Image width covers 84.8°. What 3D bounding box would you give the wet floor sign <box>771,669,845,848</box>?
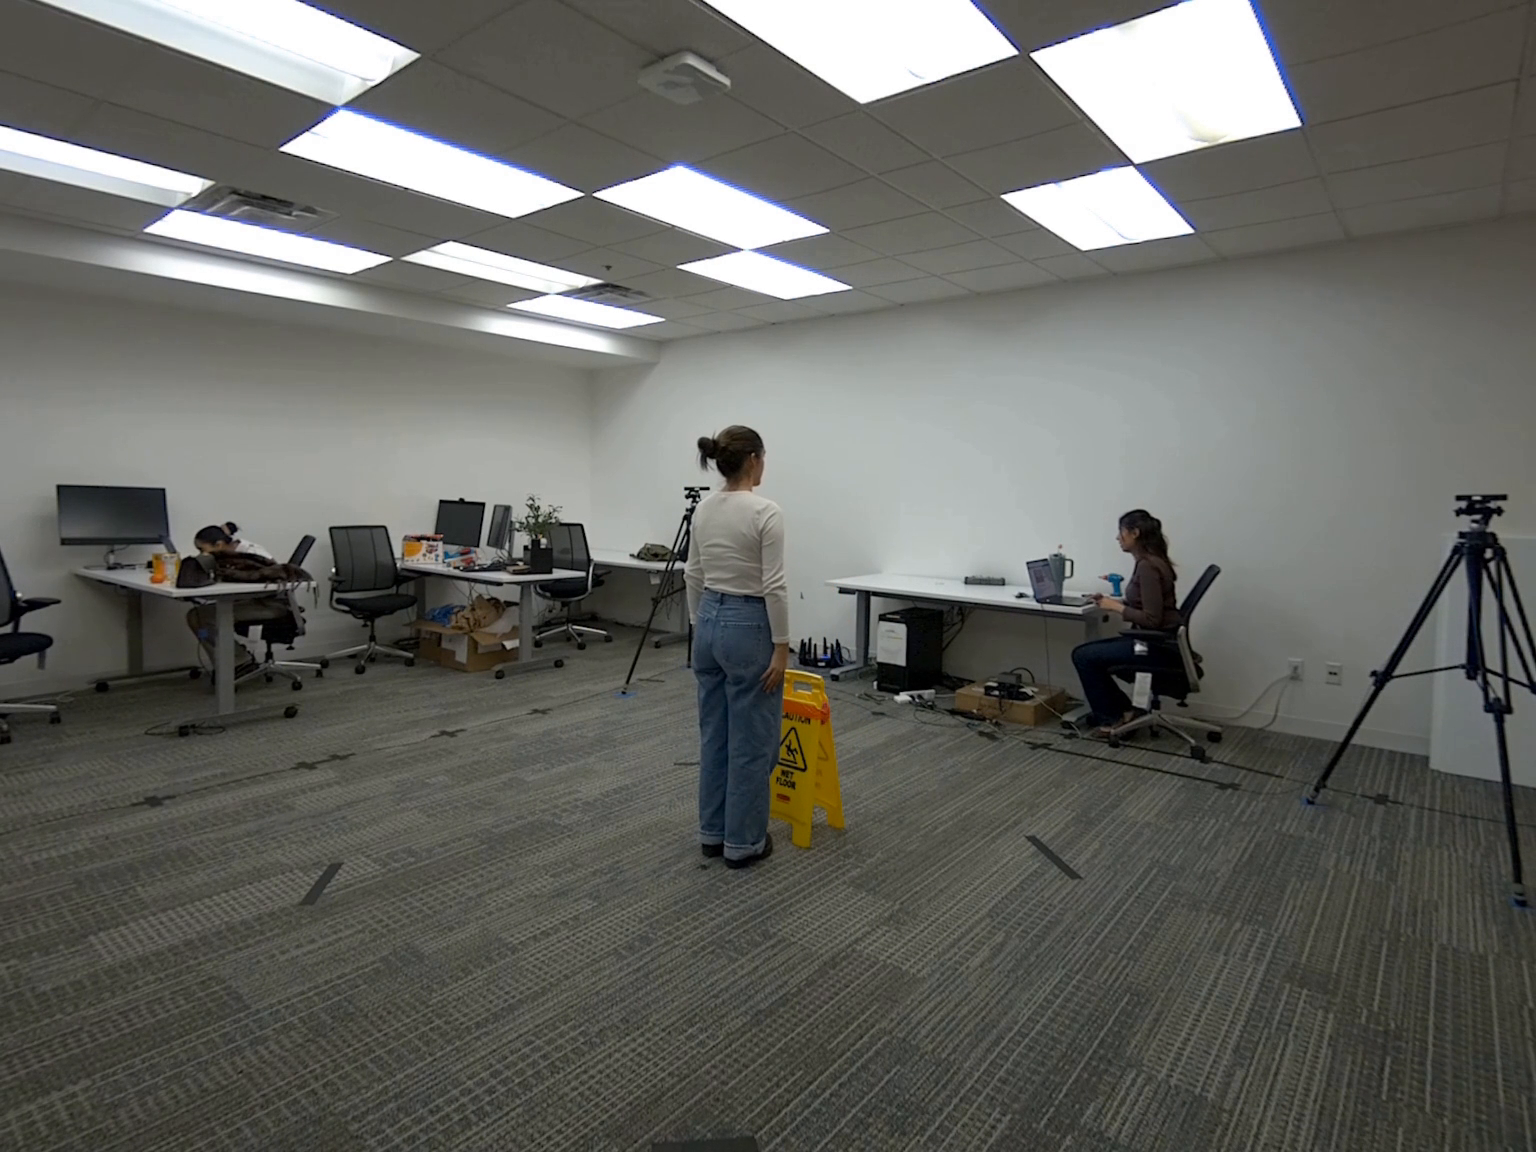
[{"bbox_3d":[0.124,0.709,3.471,0.292,0.644,0.281,5,4,39],"label":"wet floor sign"}]
